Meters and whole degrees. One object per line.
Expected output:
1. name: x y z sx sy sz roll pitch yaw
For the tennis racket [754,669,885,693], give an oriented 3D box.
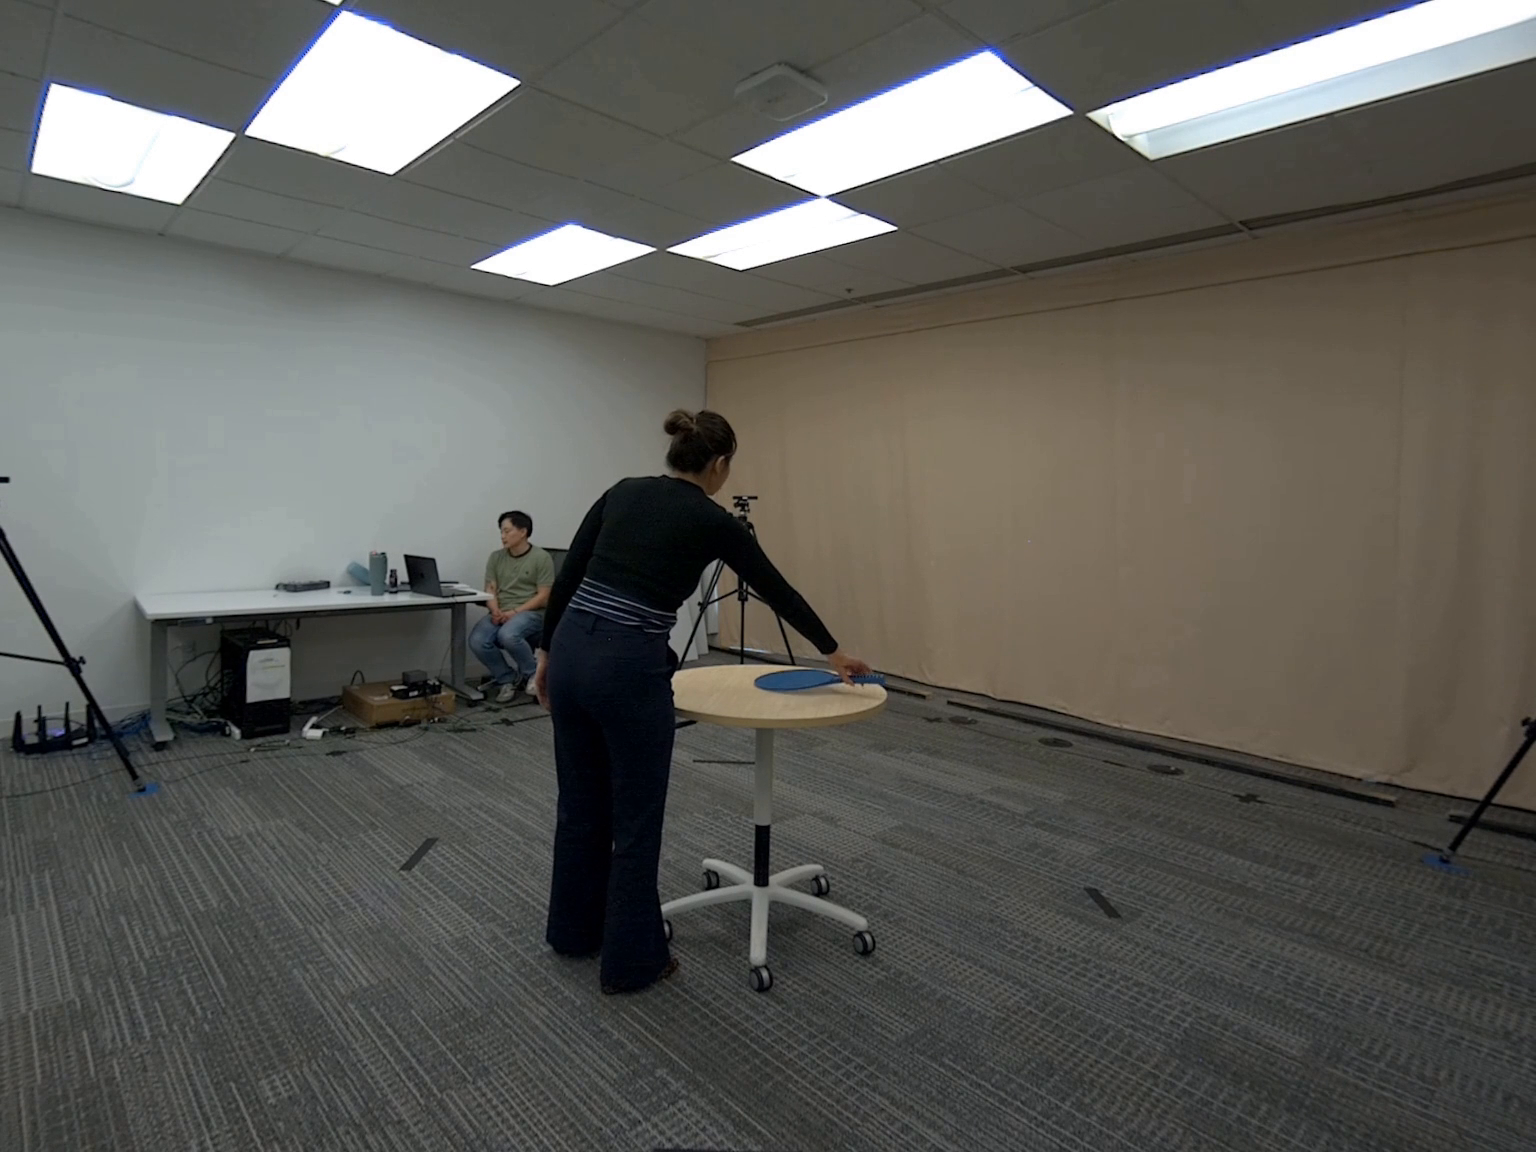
1. tennis racket: 0.147 0.335 2.672 0.441 0.031 0.211 -2 9 29
